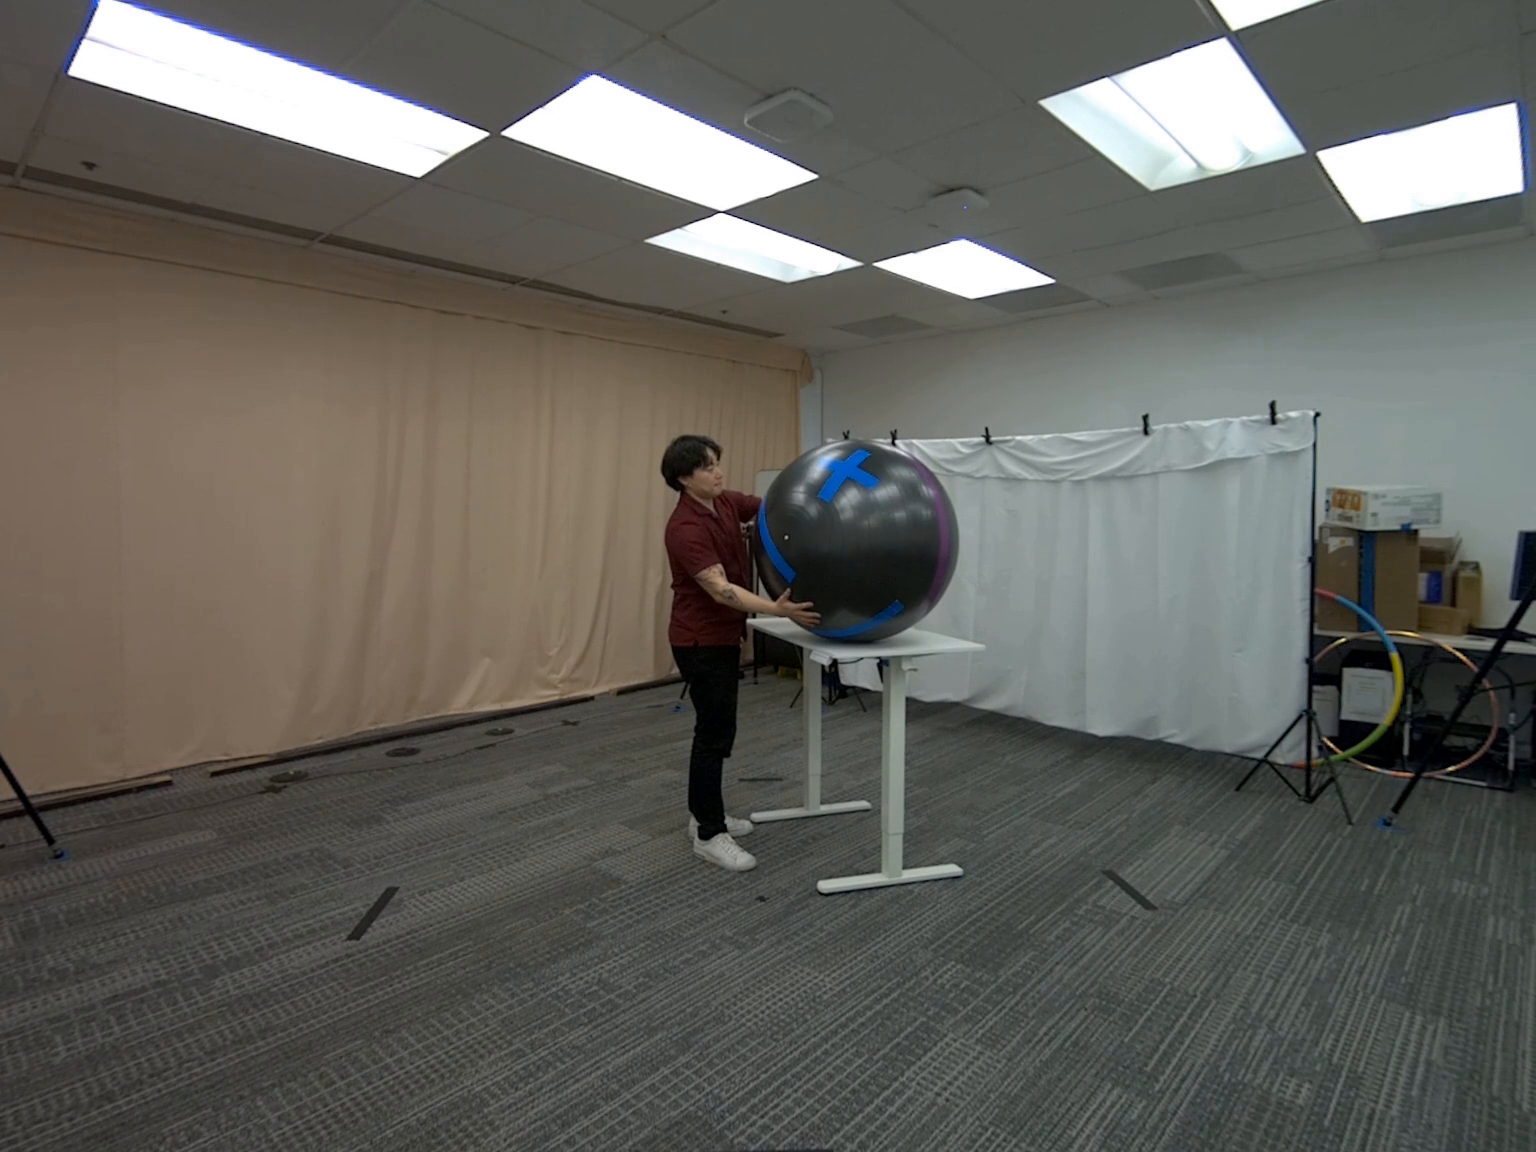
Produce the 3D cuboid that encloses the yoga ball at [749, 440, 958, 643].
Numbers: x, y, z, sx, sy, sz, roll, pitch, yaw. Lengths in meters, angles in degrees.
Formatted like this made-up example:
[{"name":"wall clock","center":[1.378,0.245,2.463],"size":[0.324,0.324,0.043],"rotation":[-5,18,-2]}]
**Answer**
[{"name":"yoga ball","center":[0.332,-0.124,3.167],"size":[0.757,0.756,0.760],"rotation":[0,4,-2]}]
